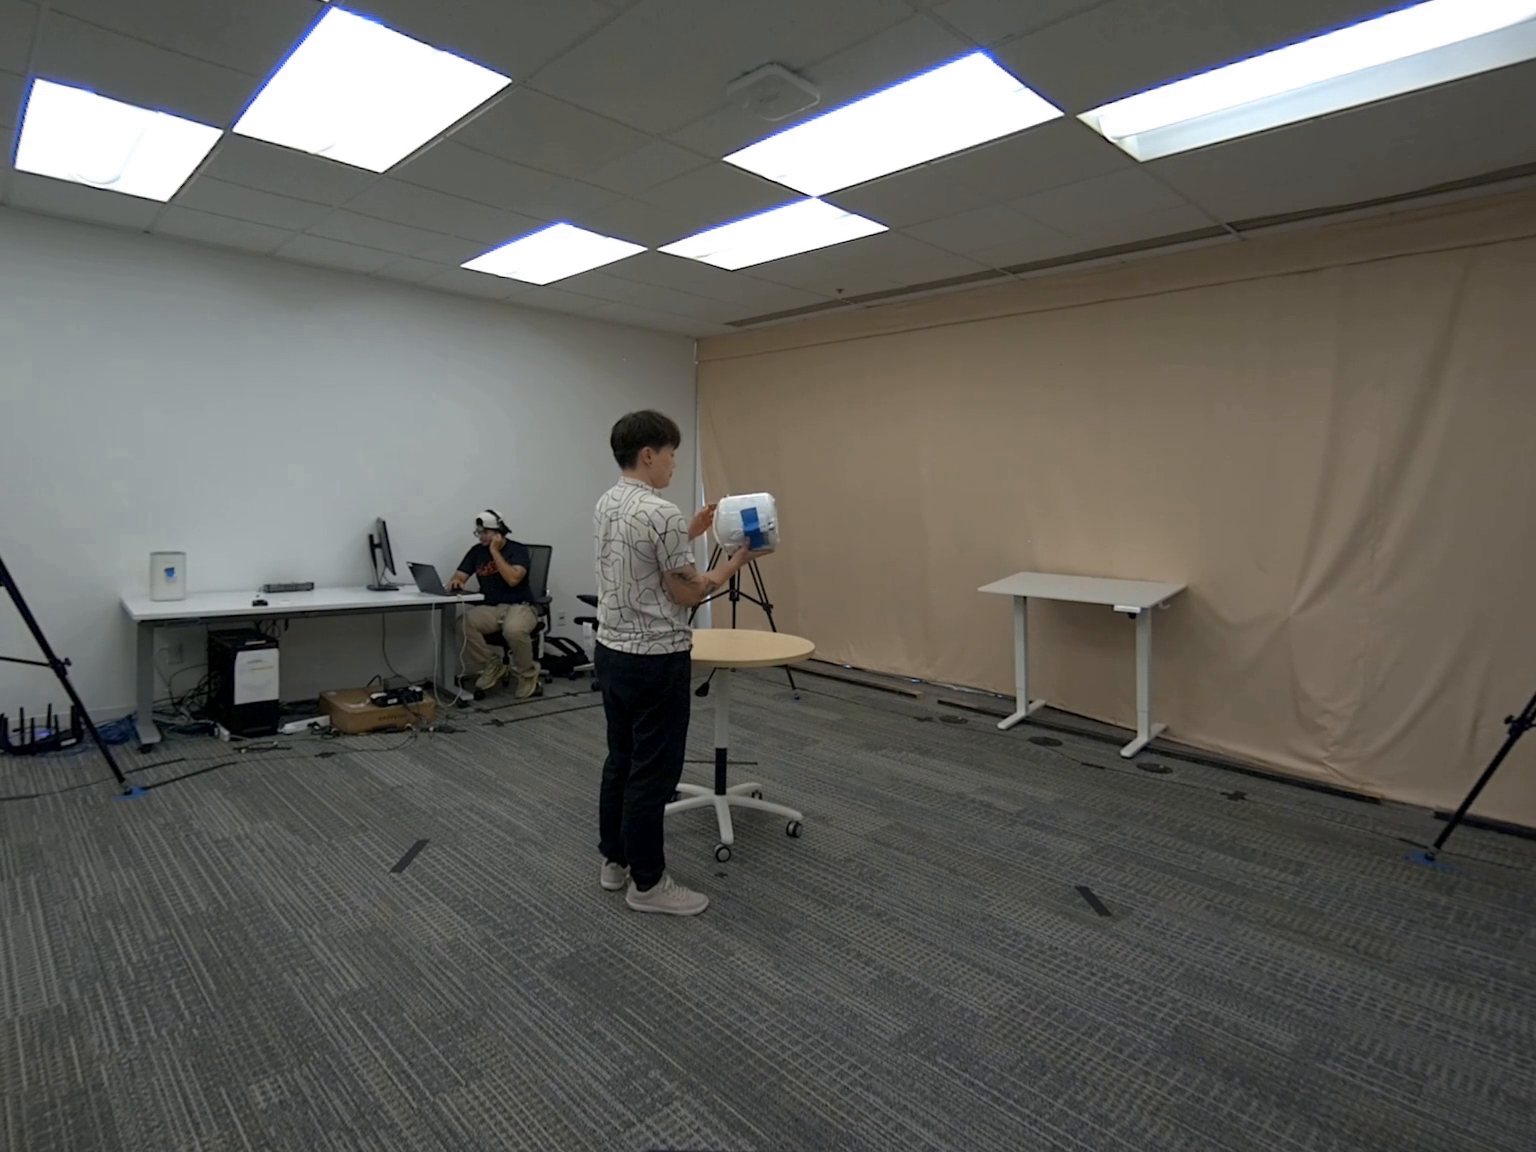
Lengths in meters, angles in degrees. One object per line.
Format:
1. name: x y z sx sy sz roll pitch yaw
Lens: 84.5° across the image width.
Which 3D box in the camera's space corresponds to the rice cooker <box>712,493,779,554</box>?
1. rice cooker: -0.093 -0.184 3.011 0.234 0.225 0.212 -5 -30 5
